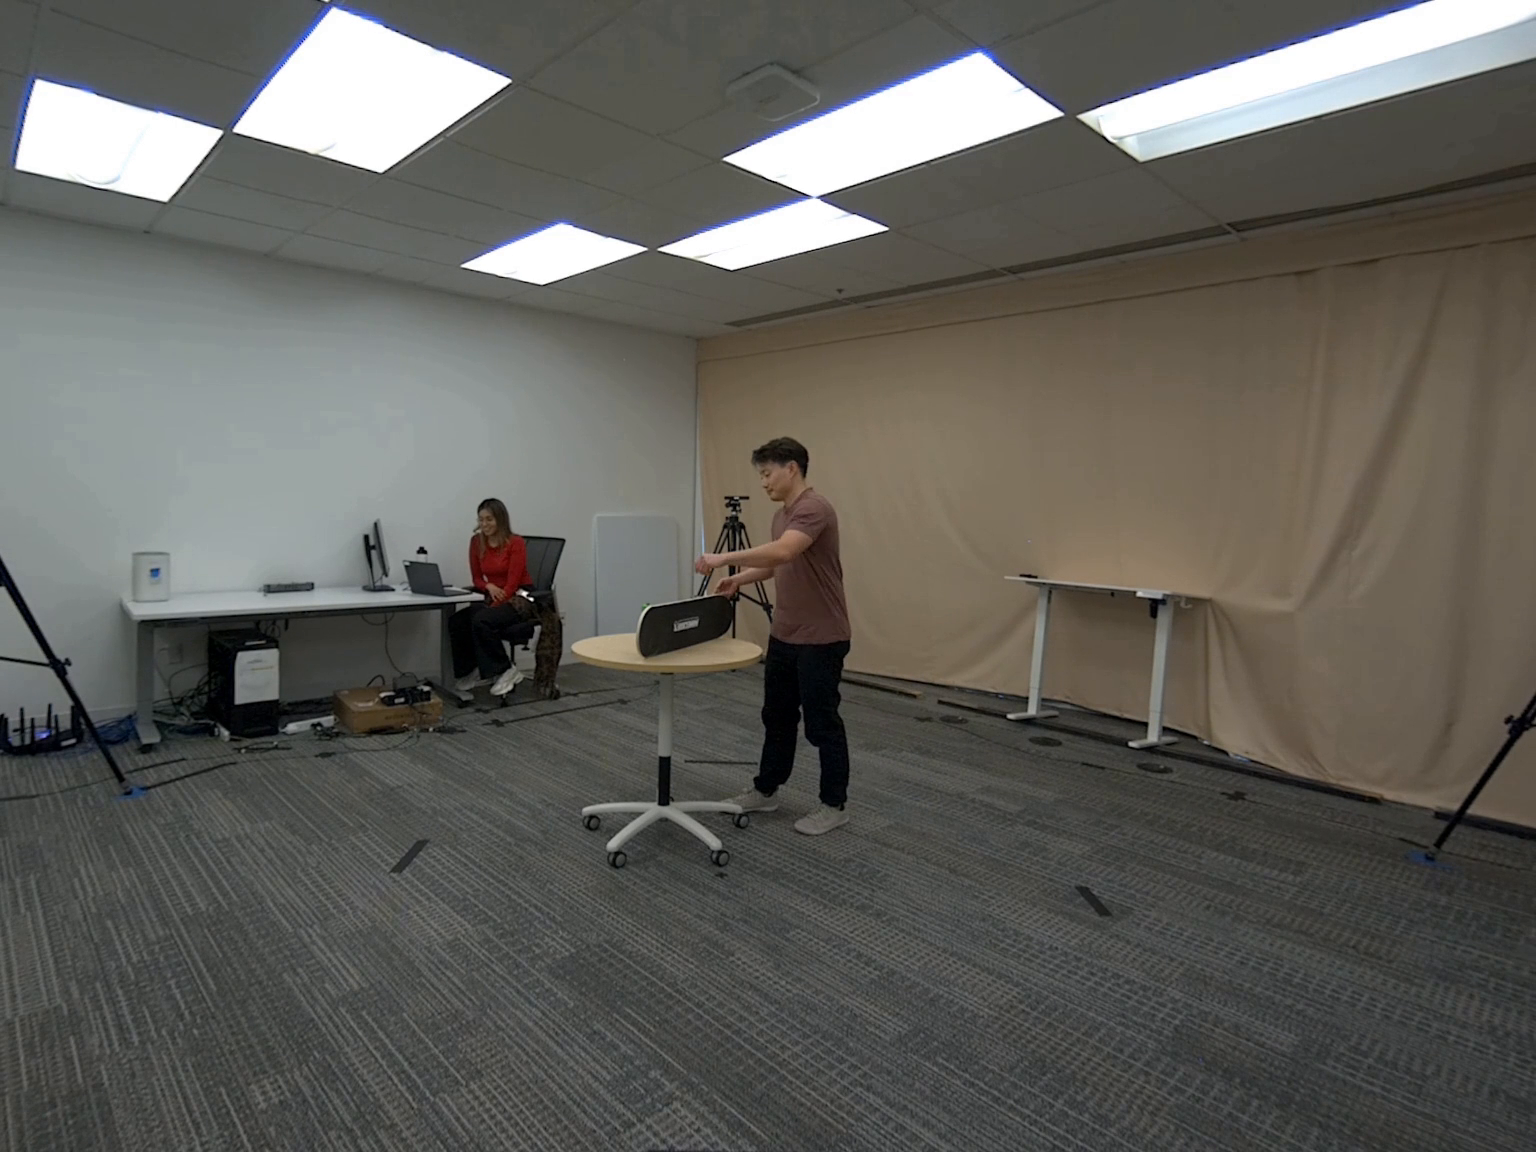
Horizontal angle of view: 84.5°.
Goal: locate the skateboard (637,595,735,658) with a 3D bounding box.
[{"bbox_3d":[-0.364,0.193,3.388,0.112,0.193,0.772,1,4,24],"label":"skateboard"}]
